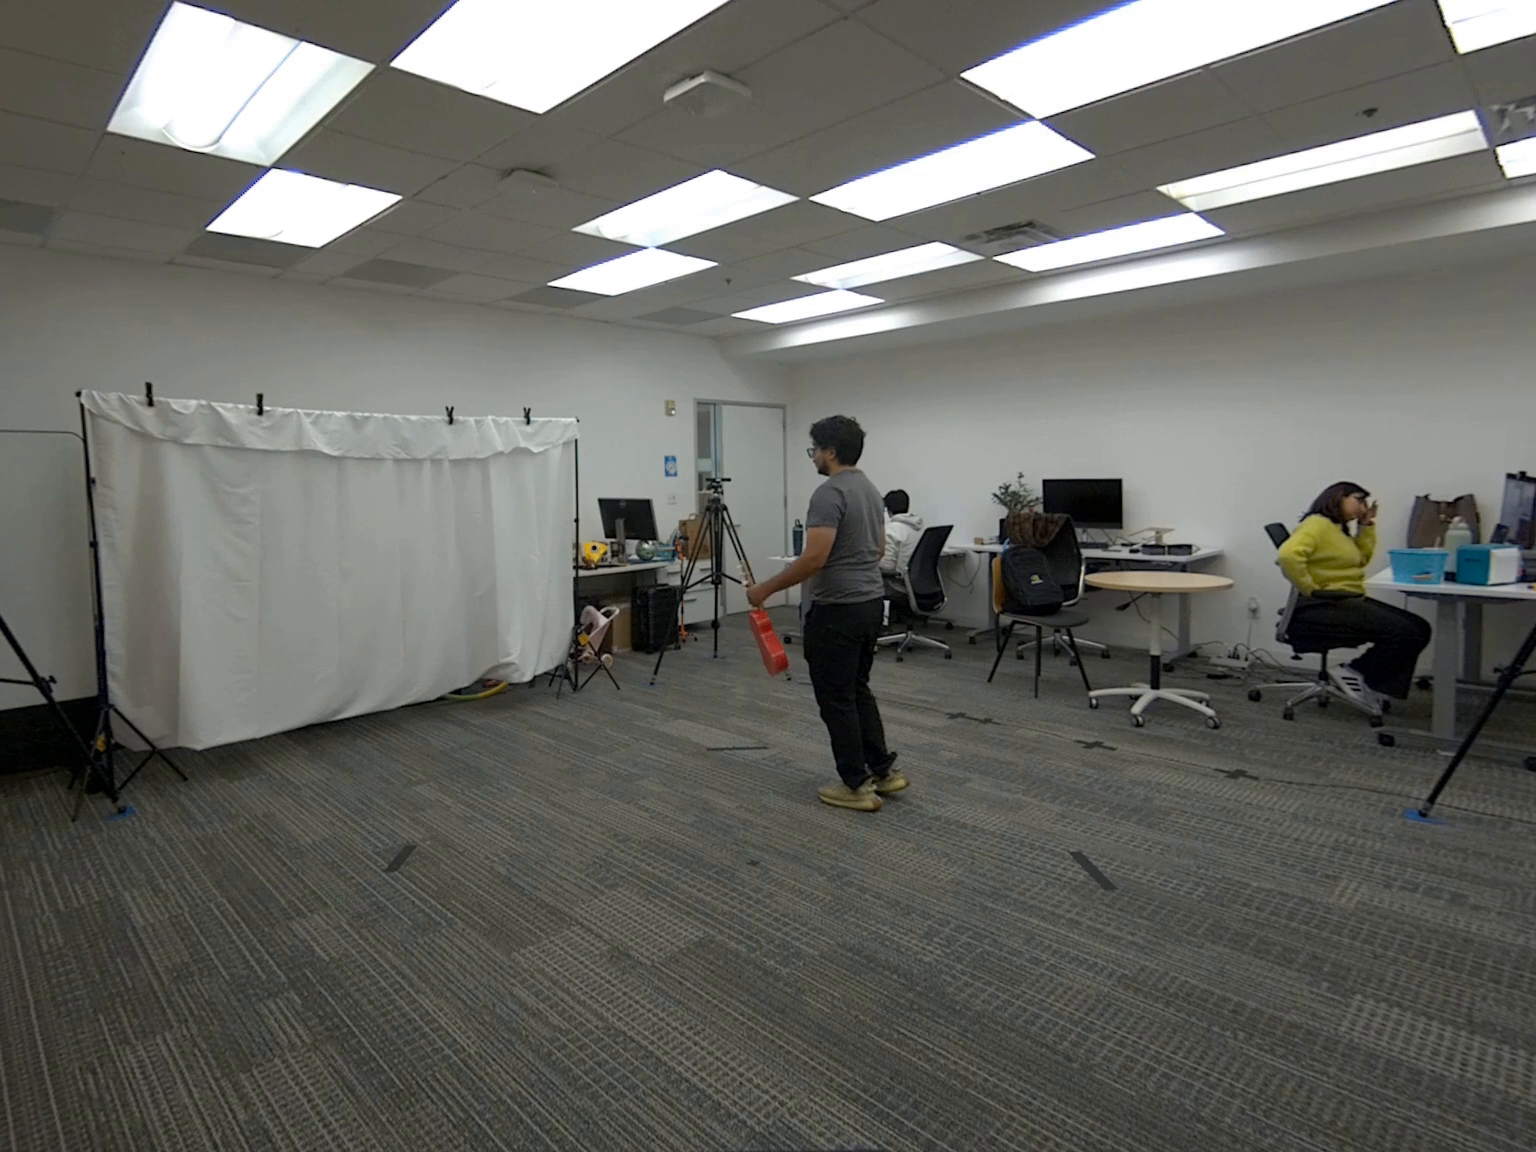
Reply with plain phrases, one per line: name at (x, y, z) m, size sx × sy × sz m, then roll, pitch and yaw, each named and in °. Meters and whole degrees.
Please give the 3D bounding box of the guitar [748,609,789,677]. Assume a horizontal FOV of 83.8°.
guitar at (-0.033, 0.175, 3.594) m, size 0.070 × 0.512 × 0.189 m, roll -18°, pitch -25°, yaw -13°
